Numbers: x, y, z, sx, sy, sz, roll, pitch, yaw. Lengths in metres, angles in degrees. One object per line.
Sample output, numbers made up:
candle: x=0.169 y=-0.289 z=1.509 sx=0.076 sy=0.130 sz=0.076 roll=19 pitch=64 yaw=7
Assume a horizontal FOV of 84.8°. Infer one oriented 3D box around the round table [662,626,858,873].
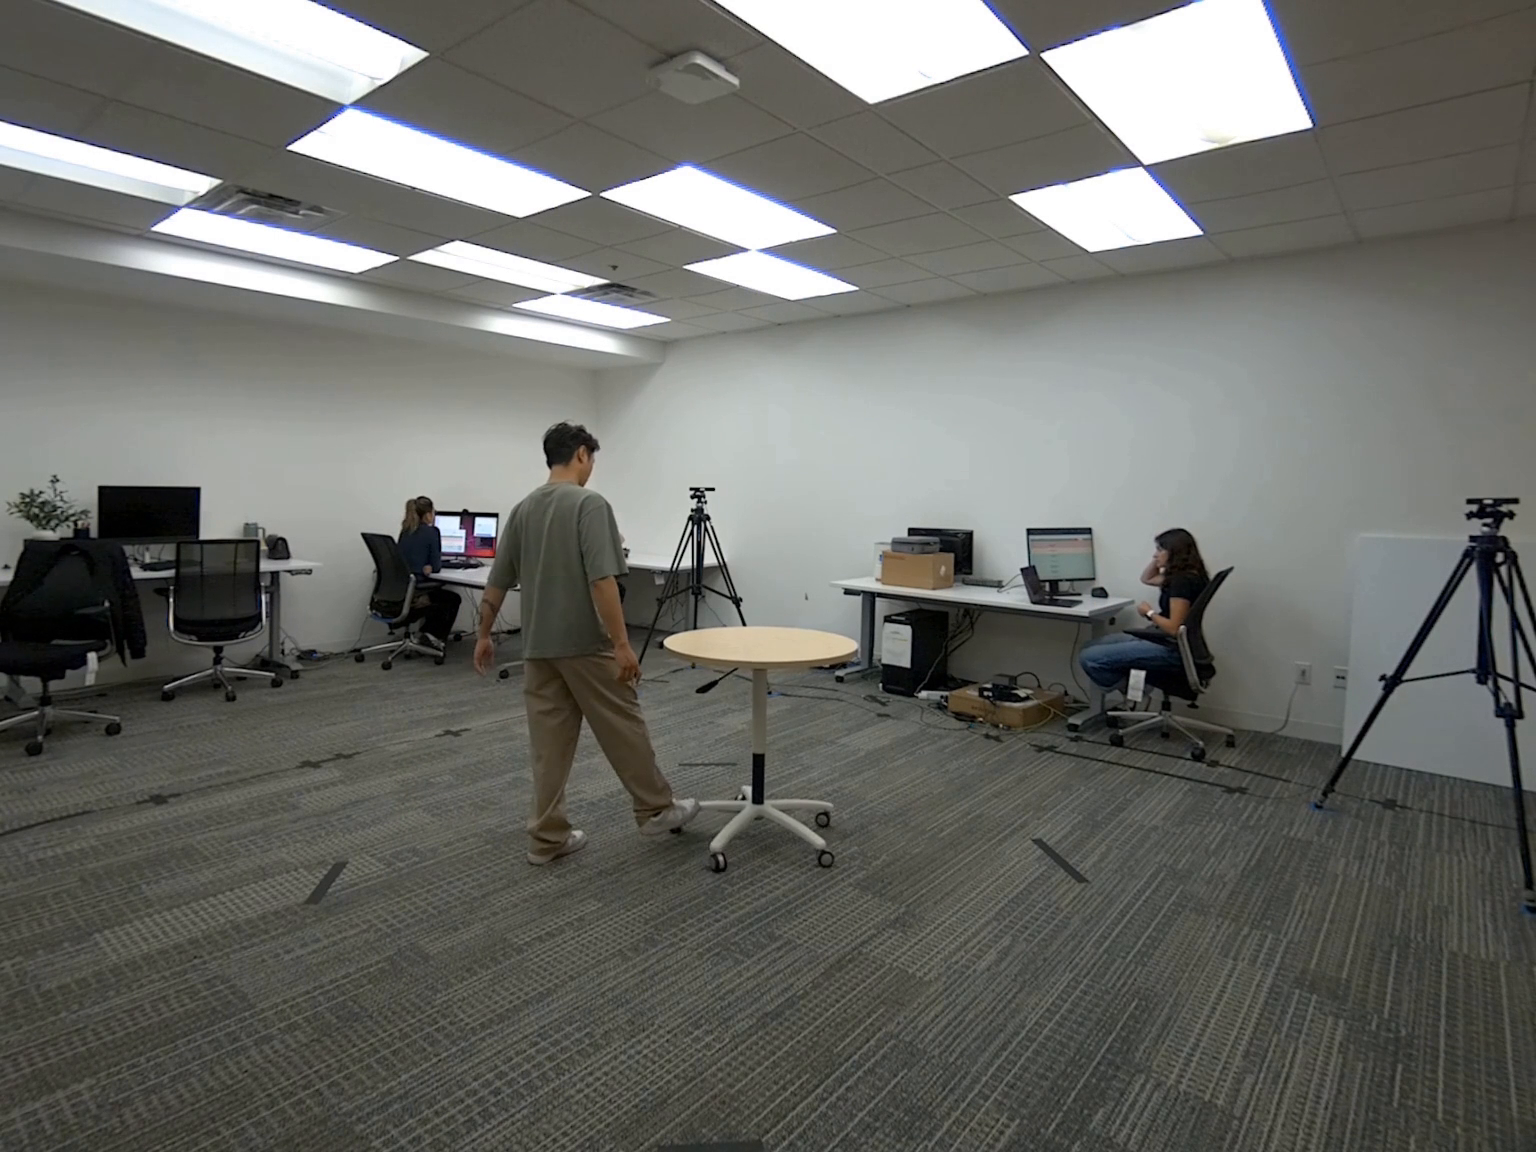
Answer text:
round table: x=-0.051 y=0.653 z=3.365 sx=0.784 sy=0.784 sz=0.789 roll=0 pitch=4 yaw=-2
